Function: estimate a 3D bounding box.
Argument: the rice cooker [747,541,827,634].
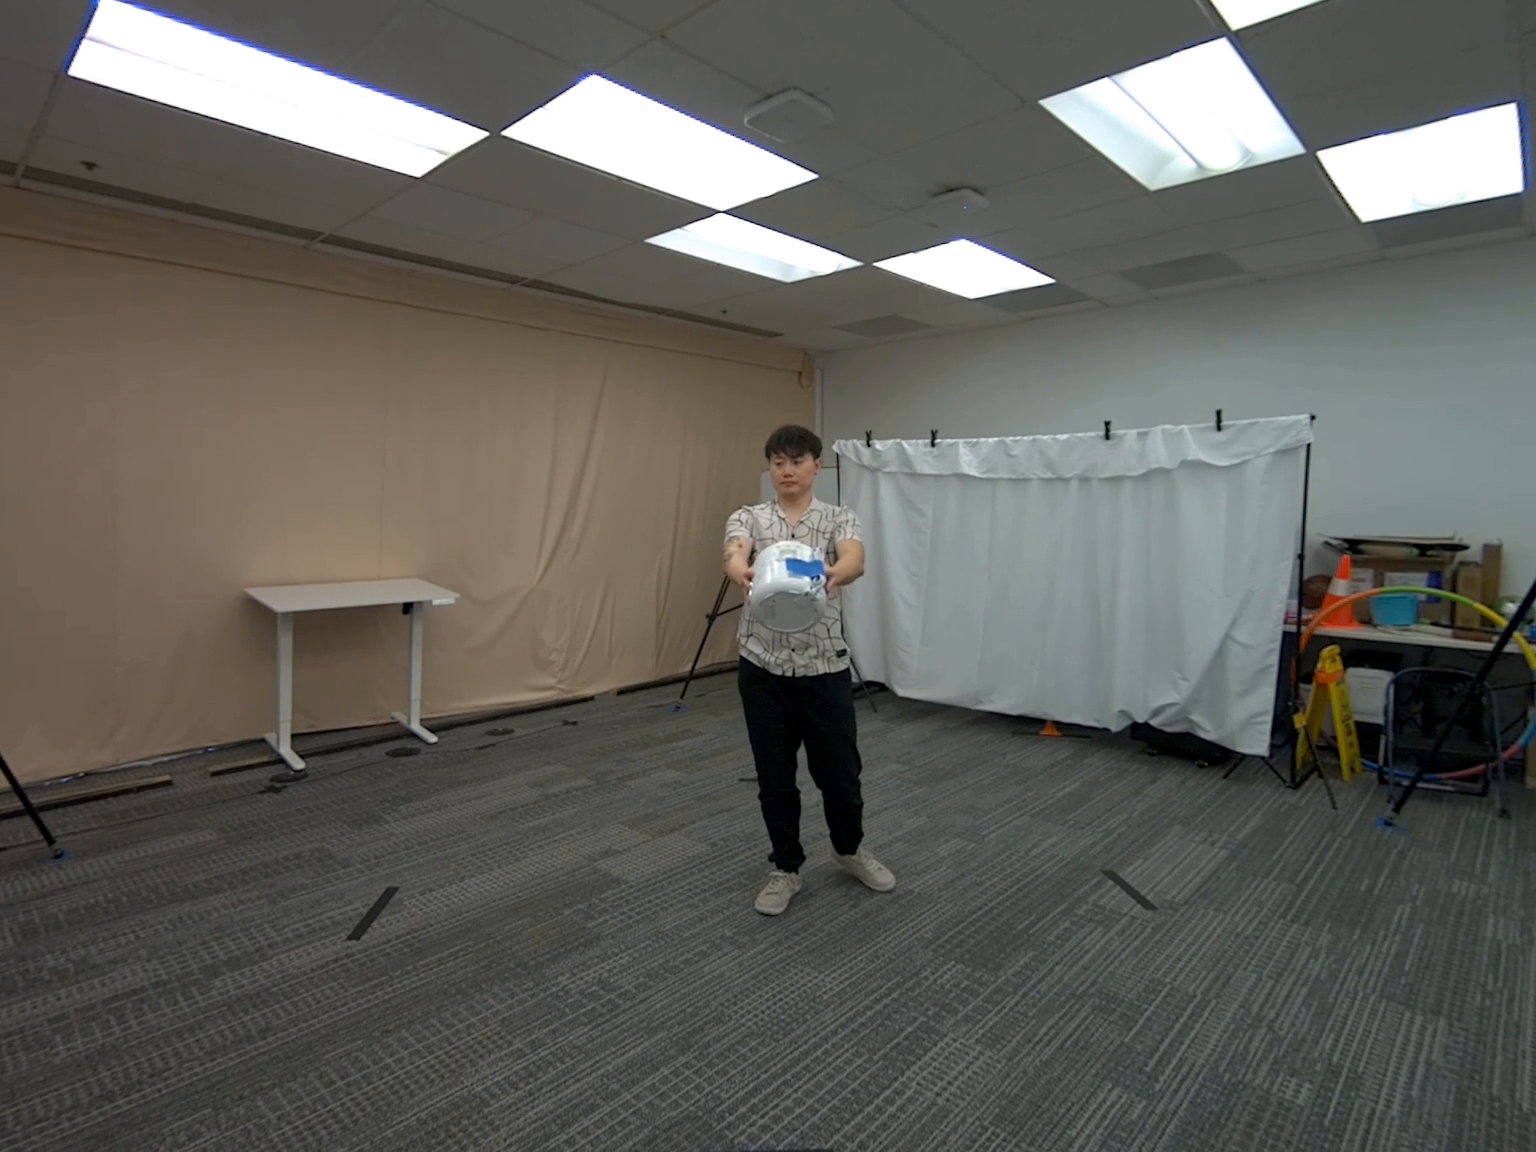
[{"bbox_3d":[0.060,0.025,2.400,0.219,0.216,0.236,0,40,5],"label":"rice cooker"}]
